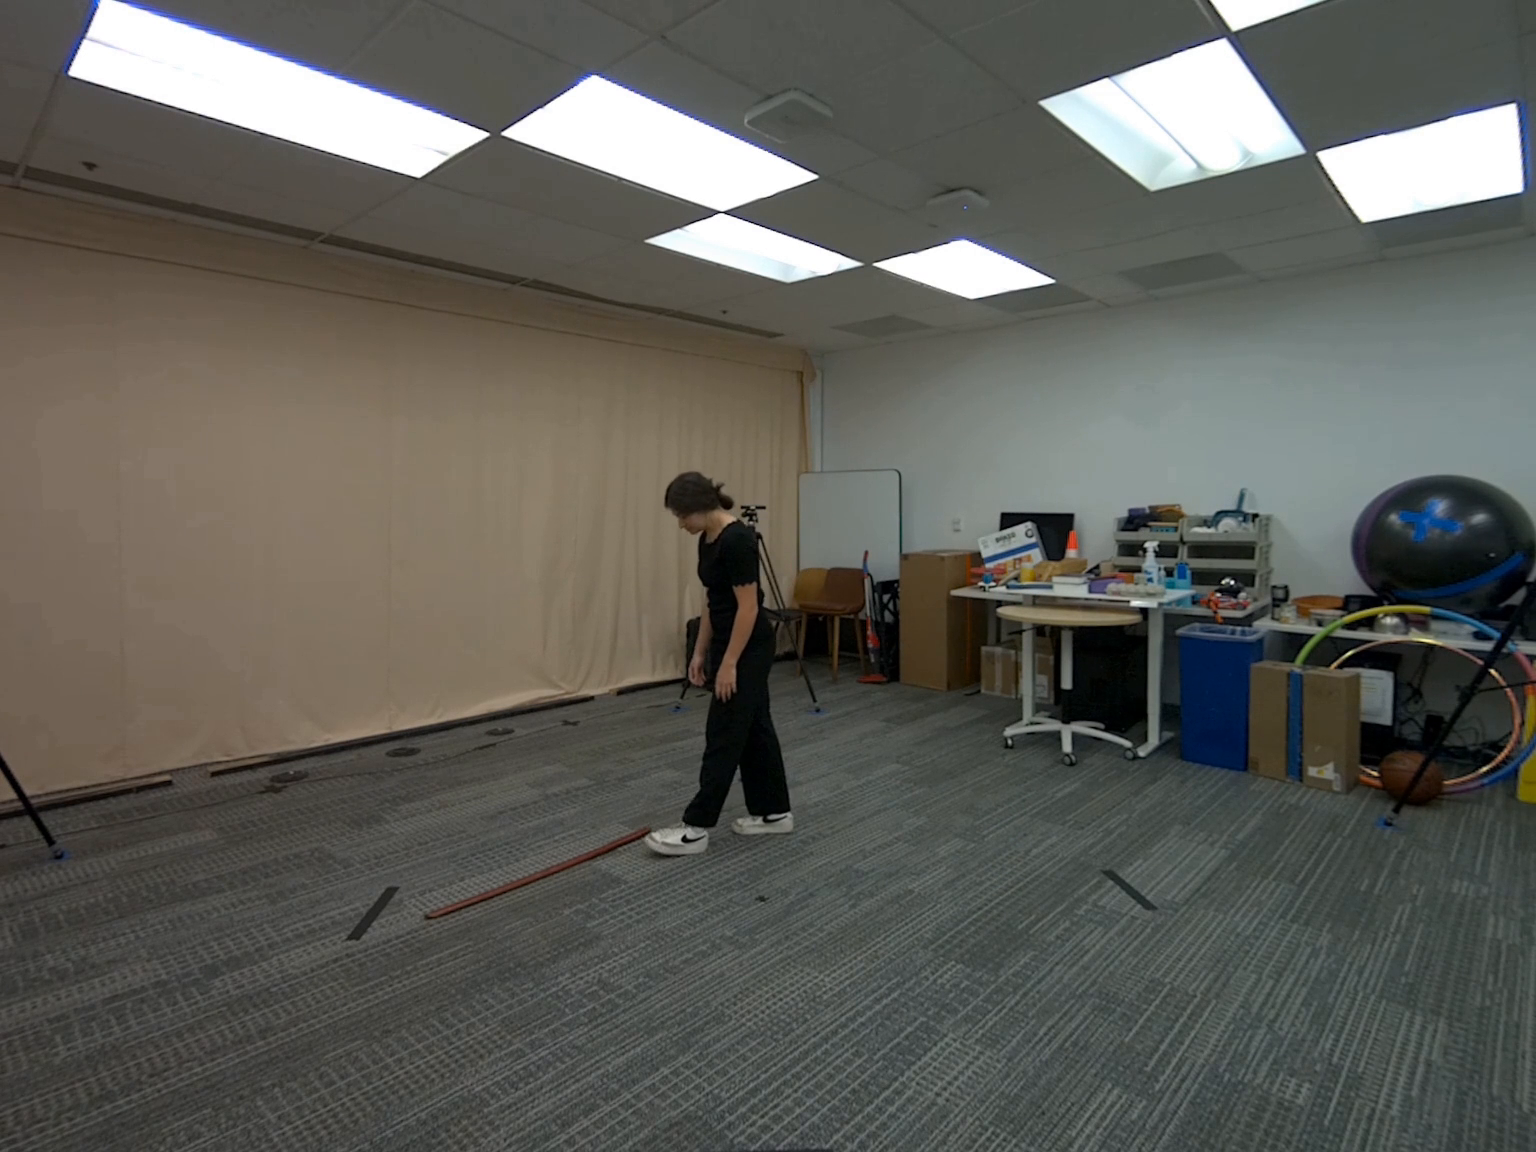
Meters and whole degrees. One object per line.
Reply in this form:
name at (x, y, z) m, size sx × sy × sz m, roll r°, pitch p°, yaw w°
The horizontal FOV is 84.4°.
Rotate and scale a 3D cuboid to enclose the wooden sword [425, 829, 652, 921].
wooden sword at (-0.812, 1.107, 3.205) m, size 0.053 × 0.024 × 0.994 m, roll 22°, pitch 18°, yaw 38°
